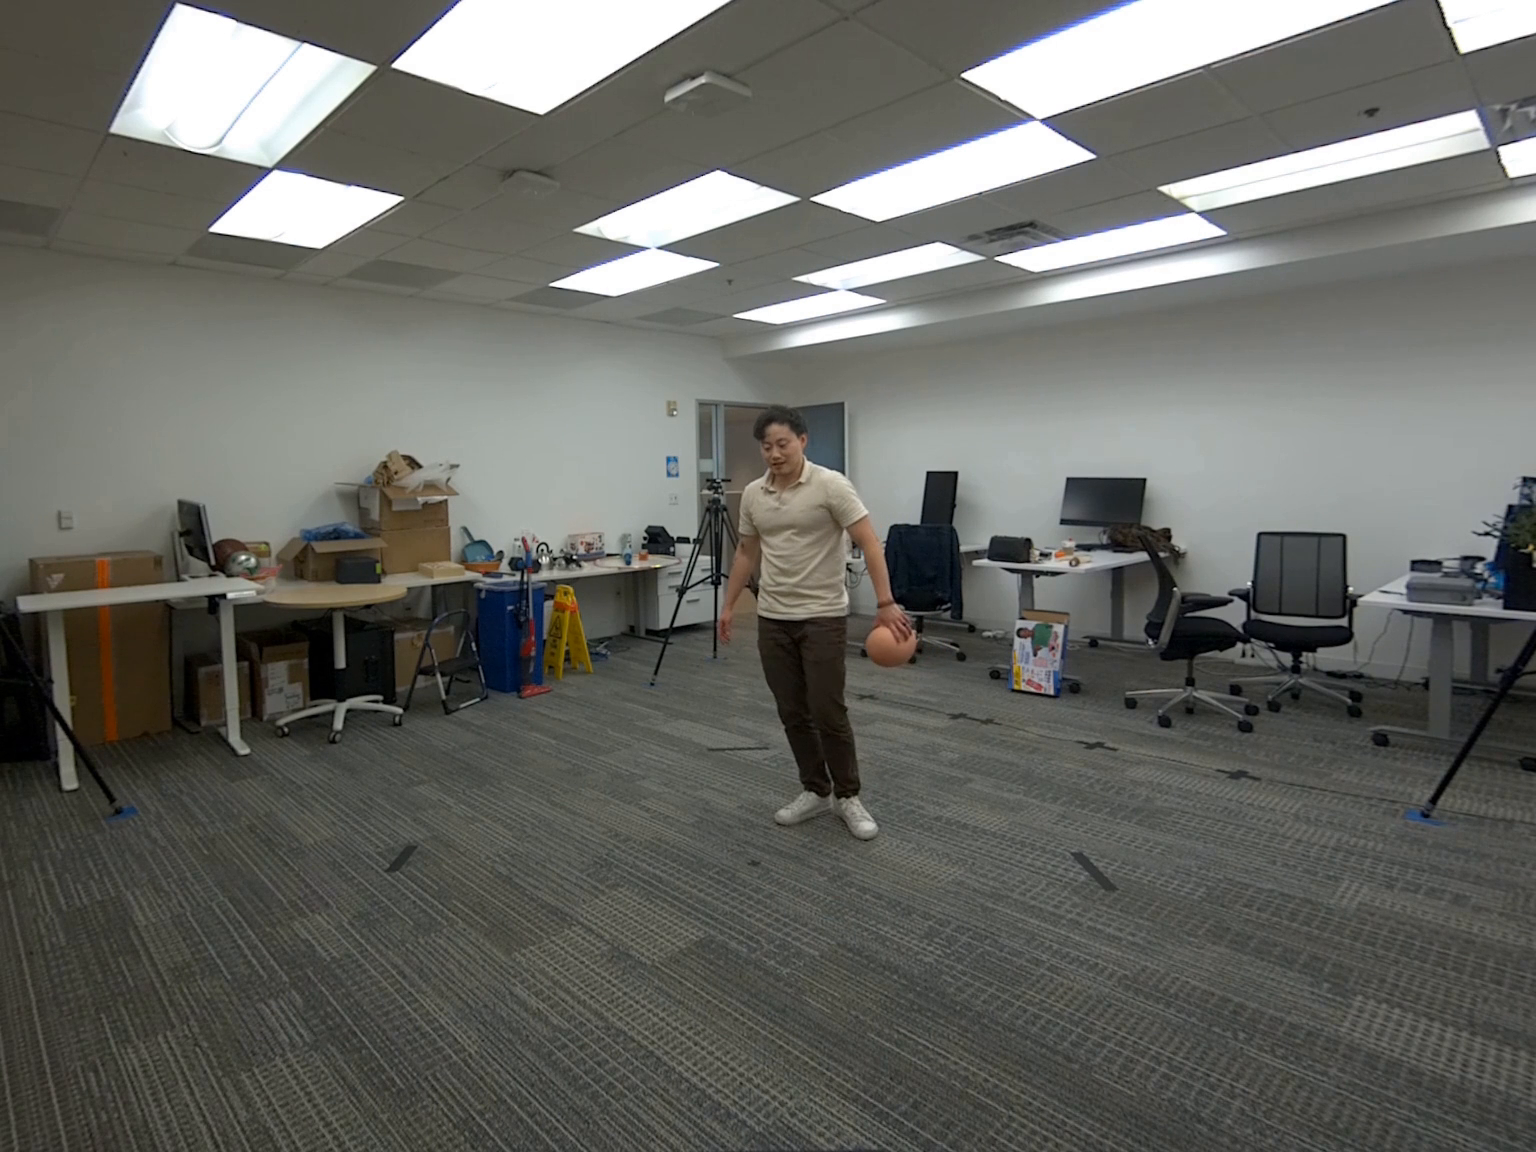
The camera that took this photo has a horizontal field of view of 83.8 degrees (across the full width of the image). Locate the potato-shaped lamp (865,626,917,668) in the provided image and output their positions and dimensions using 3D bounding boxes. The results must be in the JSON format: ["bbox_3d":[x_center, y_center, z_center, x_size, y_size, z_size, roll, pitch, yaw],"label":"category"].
[{"bbox_3d":[0.457,0.251,3.167,0.170,0.171,0.192,21,6,29],"label":"potato-shaped lamp"}]
